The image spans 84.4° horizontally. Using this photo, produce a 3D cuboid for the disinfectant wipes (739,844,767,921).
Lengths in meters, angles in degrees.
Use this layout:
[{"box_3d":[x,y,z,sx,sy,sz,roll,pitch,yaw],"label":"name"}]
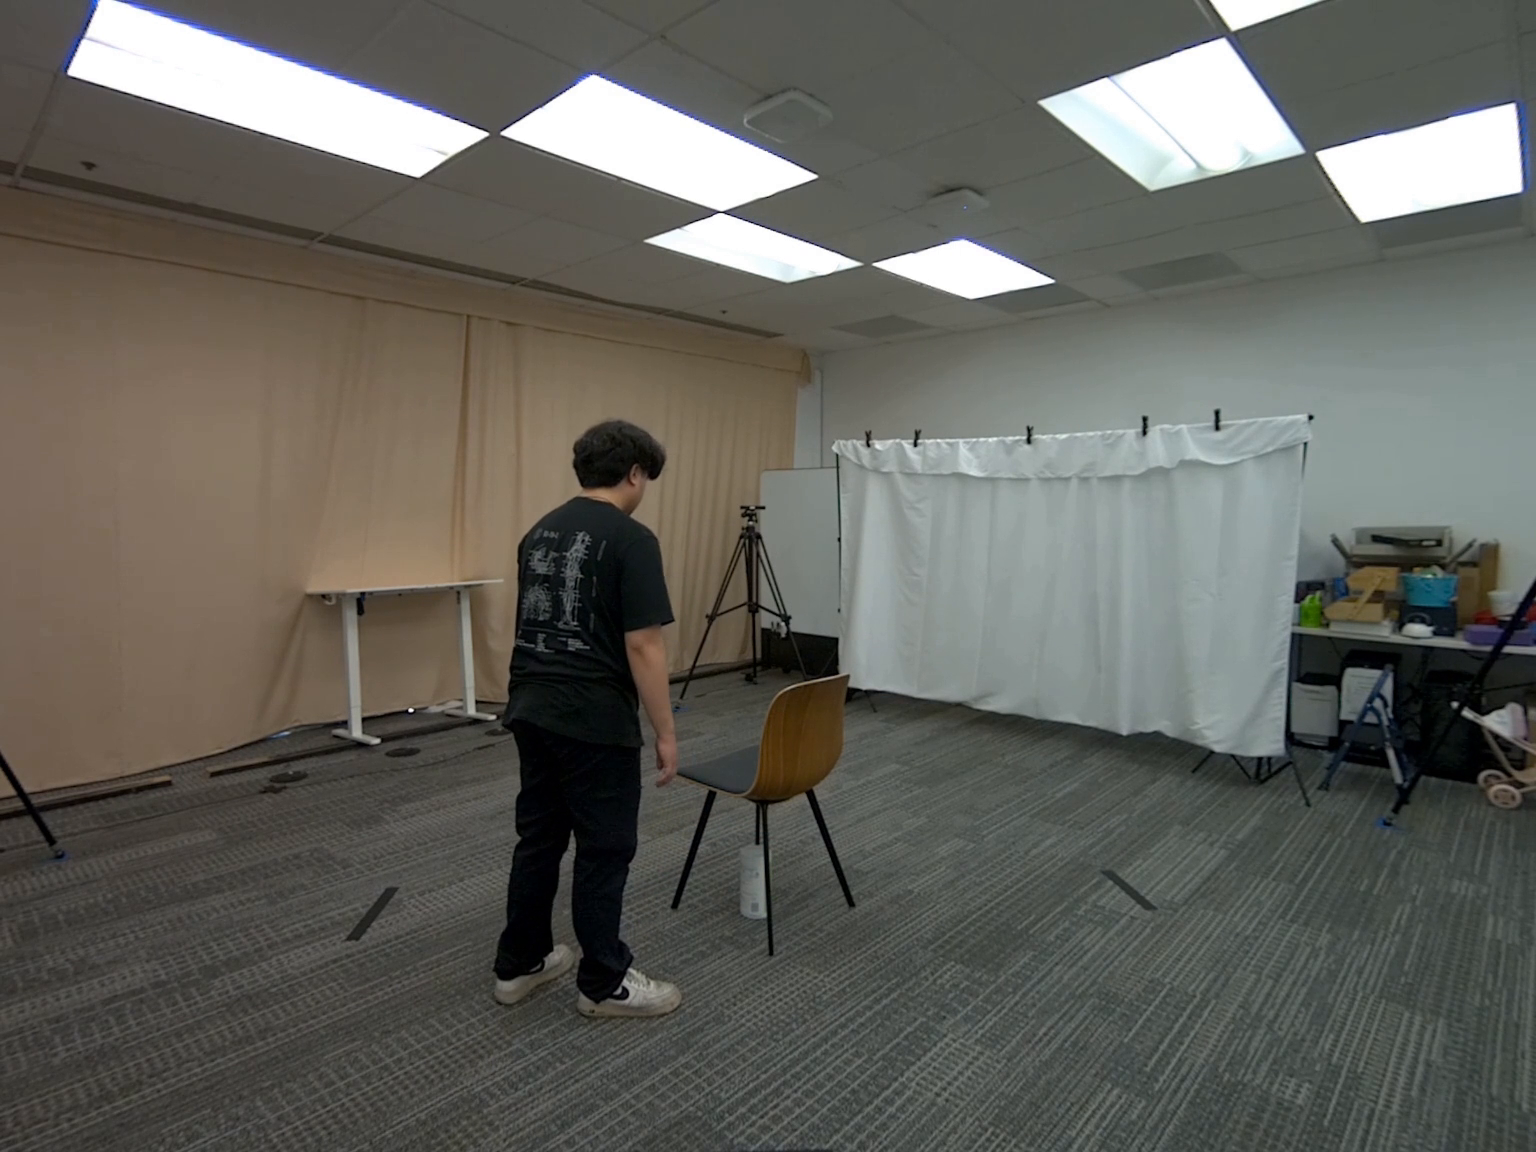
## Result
[{"box_3d":[-0.031,1.060,2.872,0.117,0.217,0.118,2,4,-2],"label":"disinfectant wipes"}]
